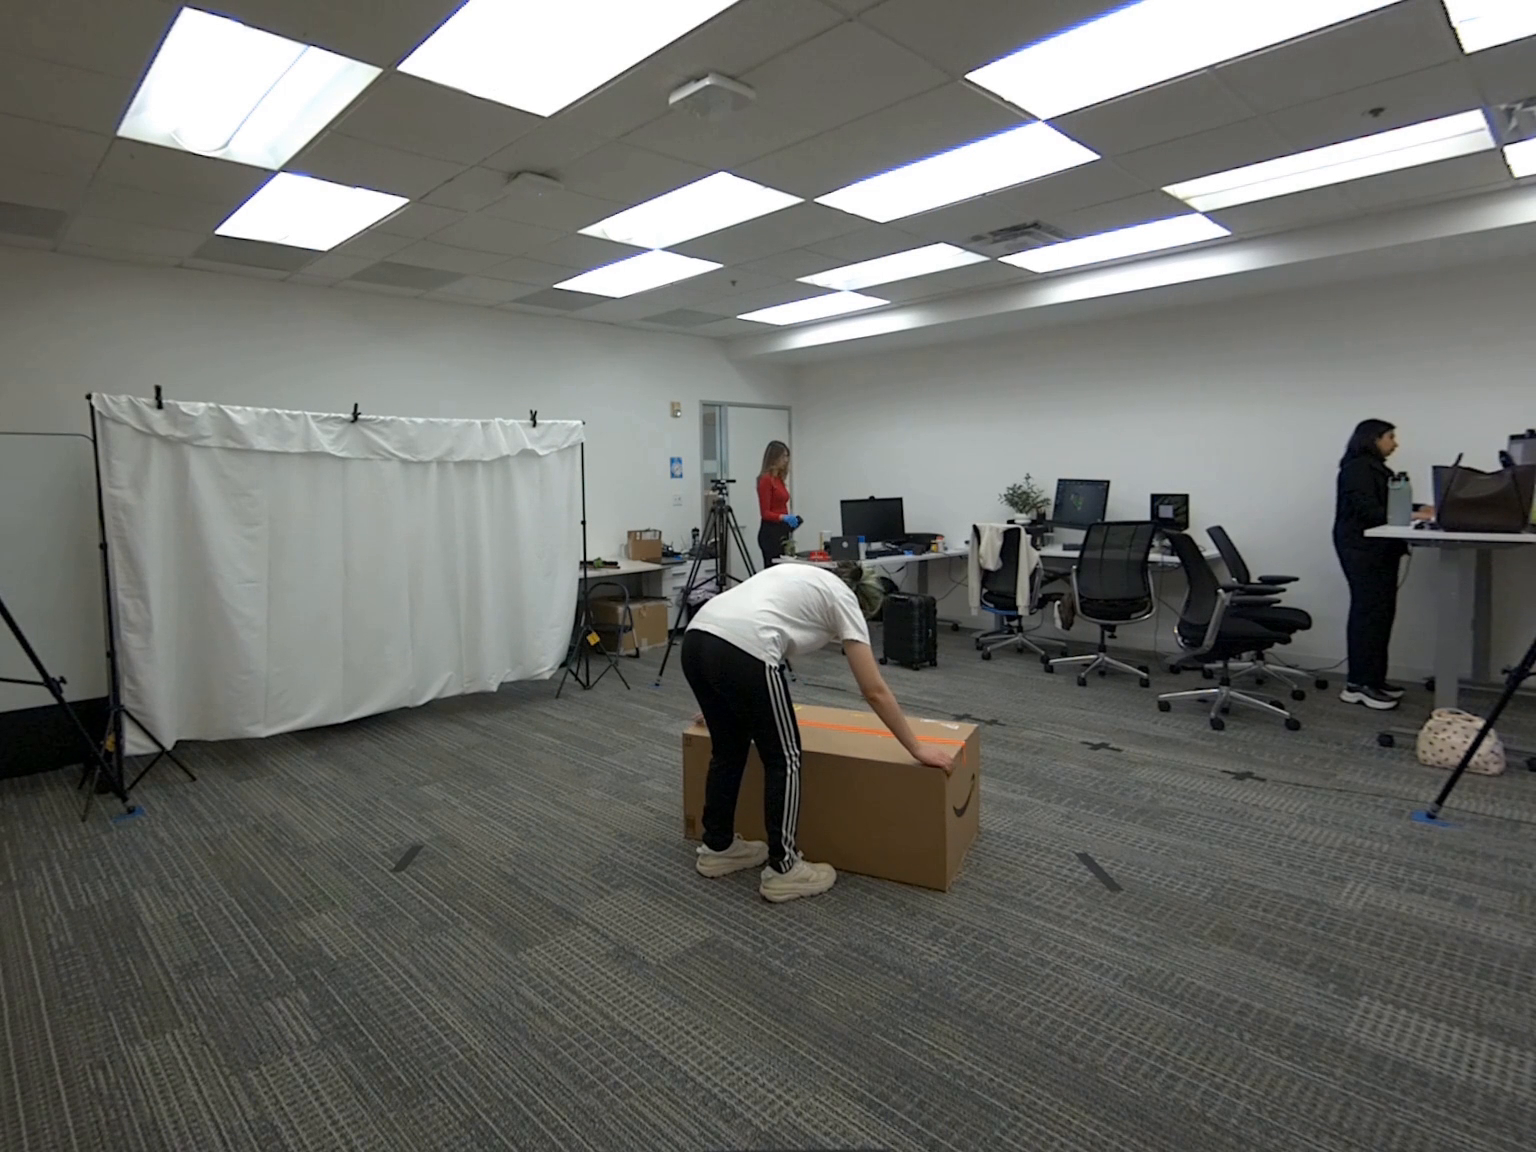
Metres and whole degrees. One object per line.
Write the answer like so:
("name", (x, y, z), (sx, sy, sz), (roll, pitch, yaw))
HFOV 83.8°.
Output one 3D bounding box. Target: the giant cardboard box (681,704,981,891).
("giant cardboard box", (0.248, 0.799, 3.345), (1.050, 0.425, 0.566), (2, 5, 26))
